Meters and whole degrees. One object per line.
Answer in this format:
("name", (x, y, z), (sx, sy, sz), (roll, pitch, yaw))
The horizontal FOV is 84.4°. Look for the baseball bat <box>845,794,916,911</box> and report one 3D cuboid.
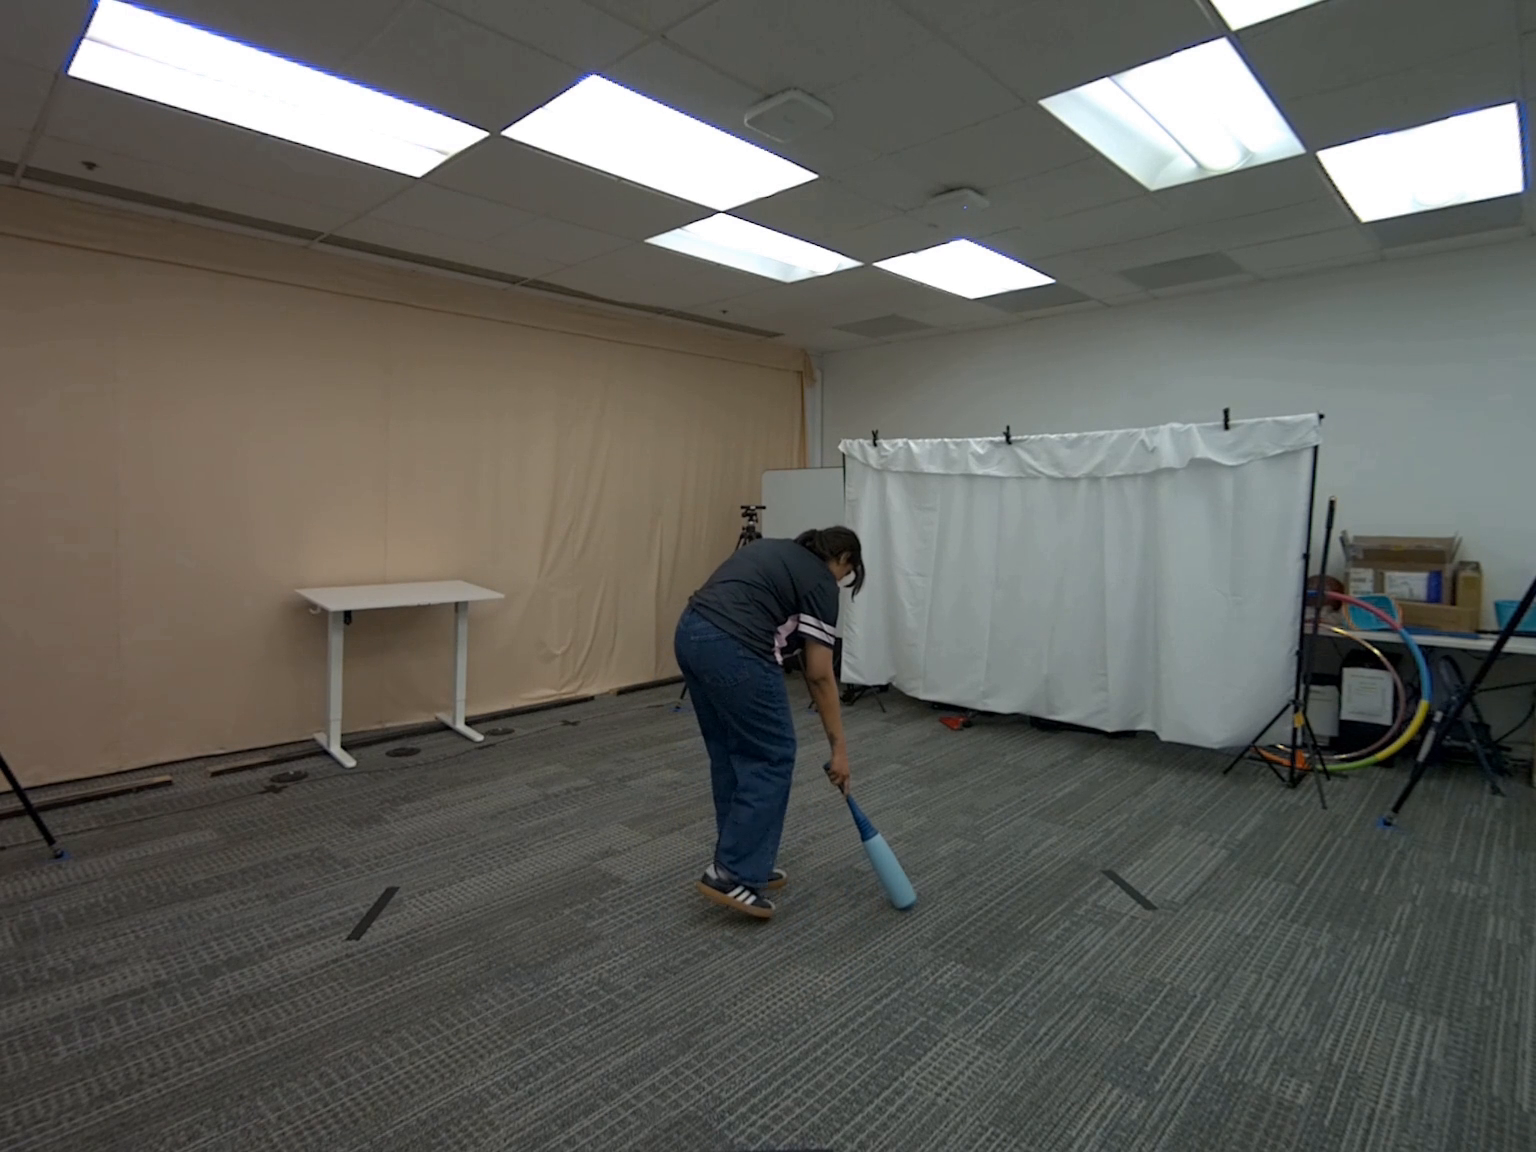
("baseball bat", (0.353, 0.906, 2.946), (0.088, 0.550, 0.088), (-29, -11, -7))
